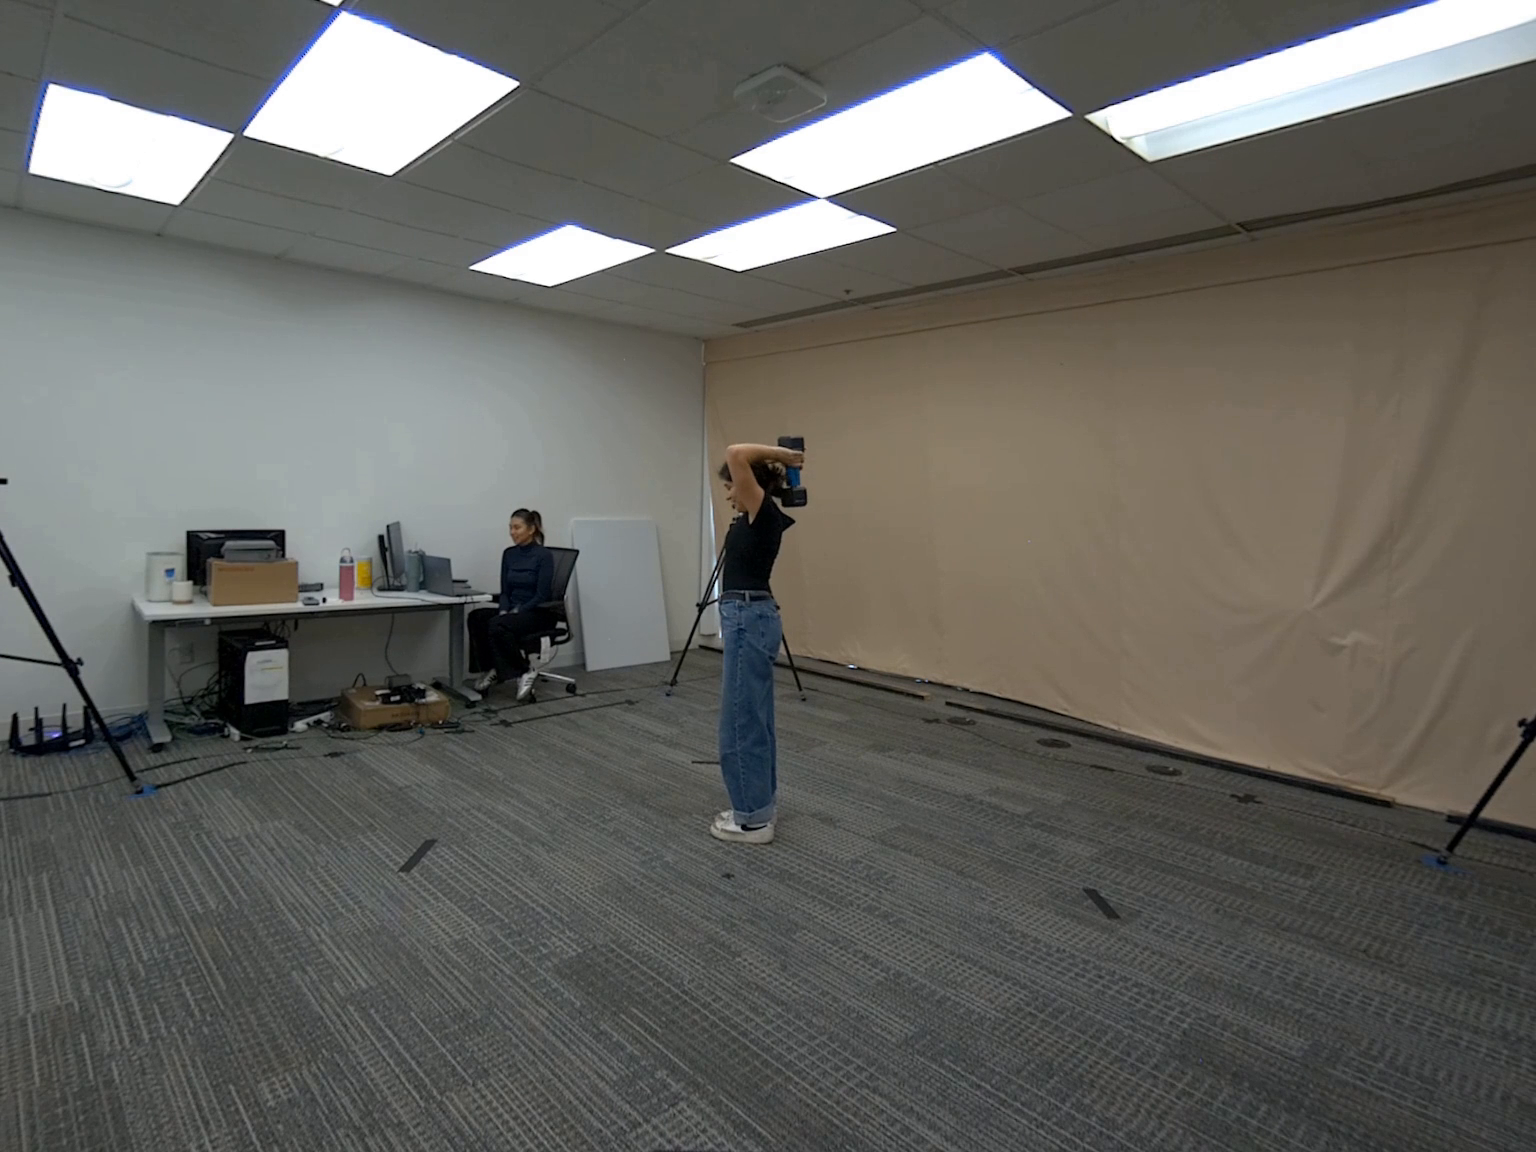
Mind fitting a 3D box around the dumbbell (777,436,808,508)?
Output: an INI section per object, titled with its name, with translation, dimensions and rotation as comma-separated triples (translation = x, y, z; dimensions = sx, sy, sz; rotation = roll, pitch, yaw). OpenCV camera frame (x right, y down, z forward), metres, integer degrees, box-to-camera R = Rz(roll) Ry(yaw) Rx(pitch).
[dumbbell]
translation = 0.091, -0.436, 3.479
dimensions = 0.126, 0.292, 0.106
rotation = 0, 5, 35
